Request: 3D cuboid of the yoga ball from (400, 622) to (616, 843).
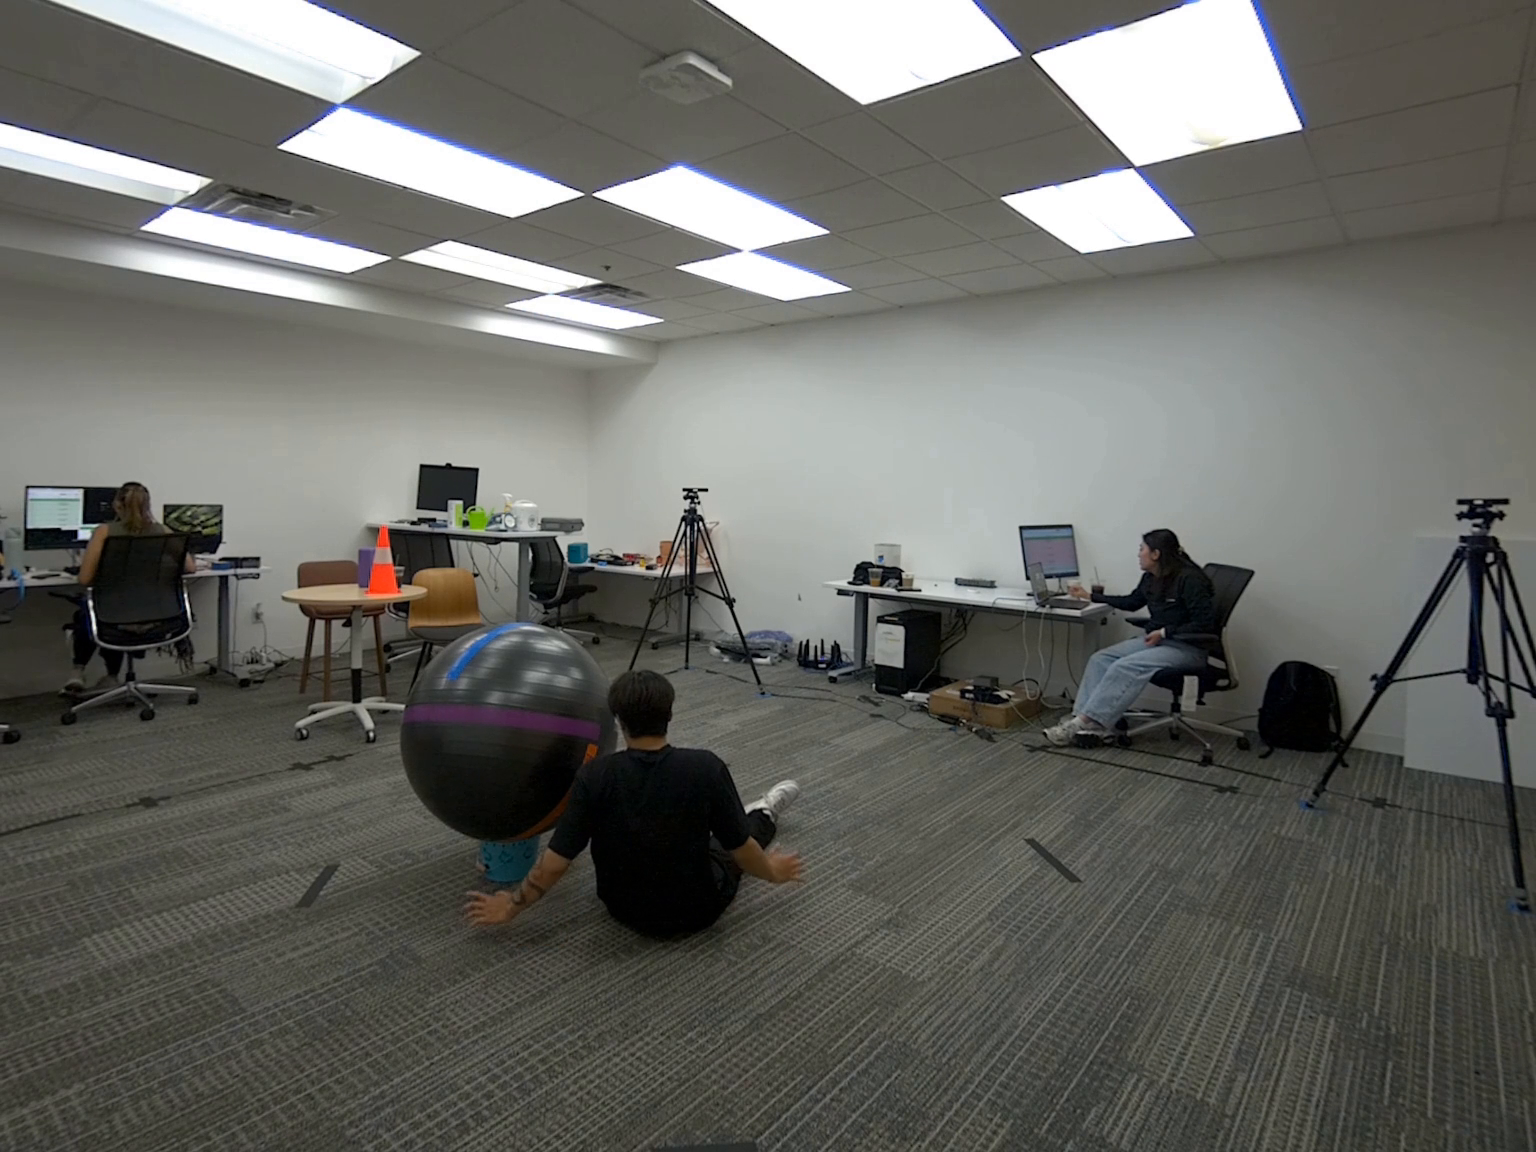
[{"bbox_3d":[-0.943,0.557,3.058,0.757,0.755,0.762,1,4,-2],"label":"yoga ball"}]
